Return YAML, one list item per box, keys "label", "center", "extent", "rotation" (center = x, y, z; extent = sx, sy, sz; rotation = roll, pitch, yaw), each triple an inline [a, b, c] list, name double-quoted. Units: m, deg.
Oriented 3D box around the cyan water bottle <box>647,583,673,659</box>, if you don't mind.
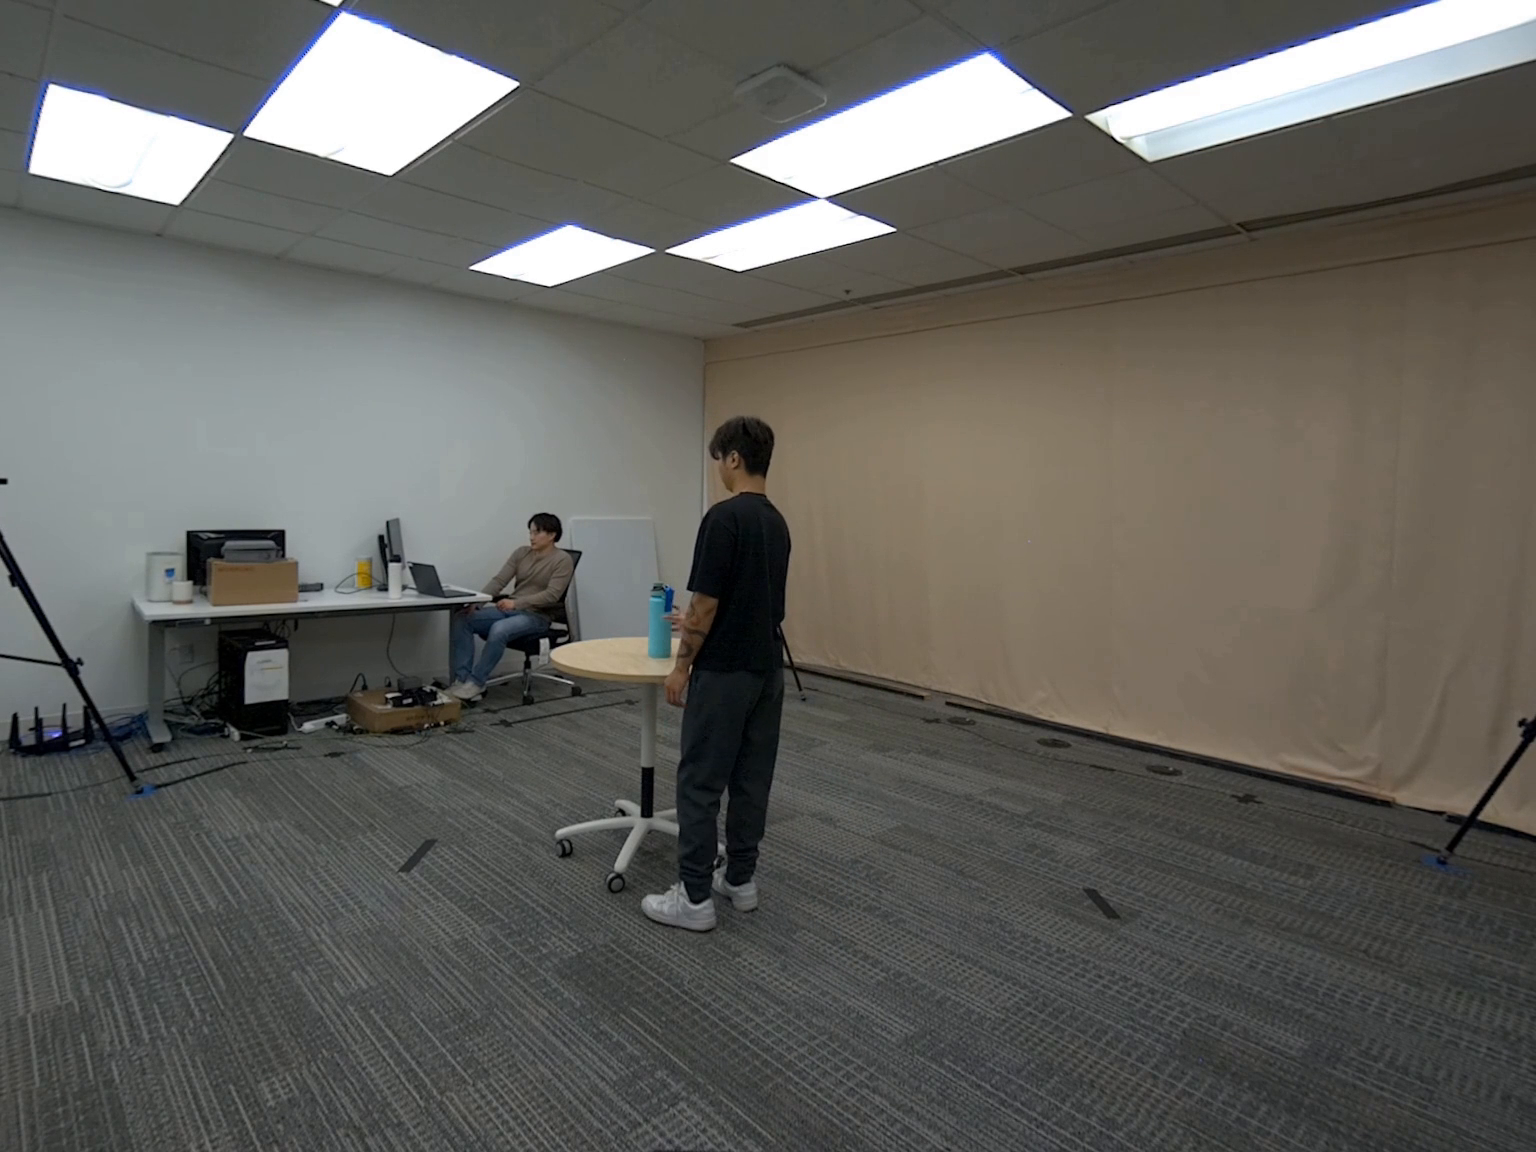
- label: "cyan water bottle"
  center: [-0.420, 0.169, 3.229]
  extent: [0.092, 0.282, 0.093]
  rotation: [4, 5, -2]
